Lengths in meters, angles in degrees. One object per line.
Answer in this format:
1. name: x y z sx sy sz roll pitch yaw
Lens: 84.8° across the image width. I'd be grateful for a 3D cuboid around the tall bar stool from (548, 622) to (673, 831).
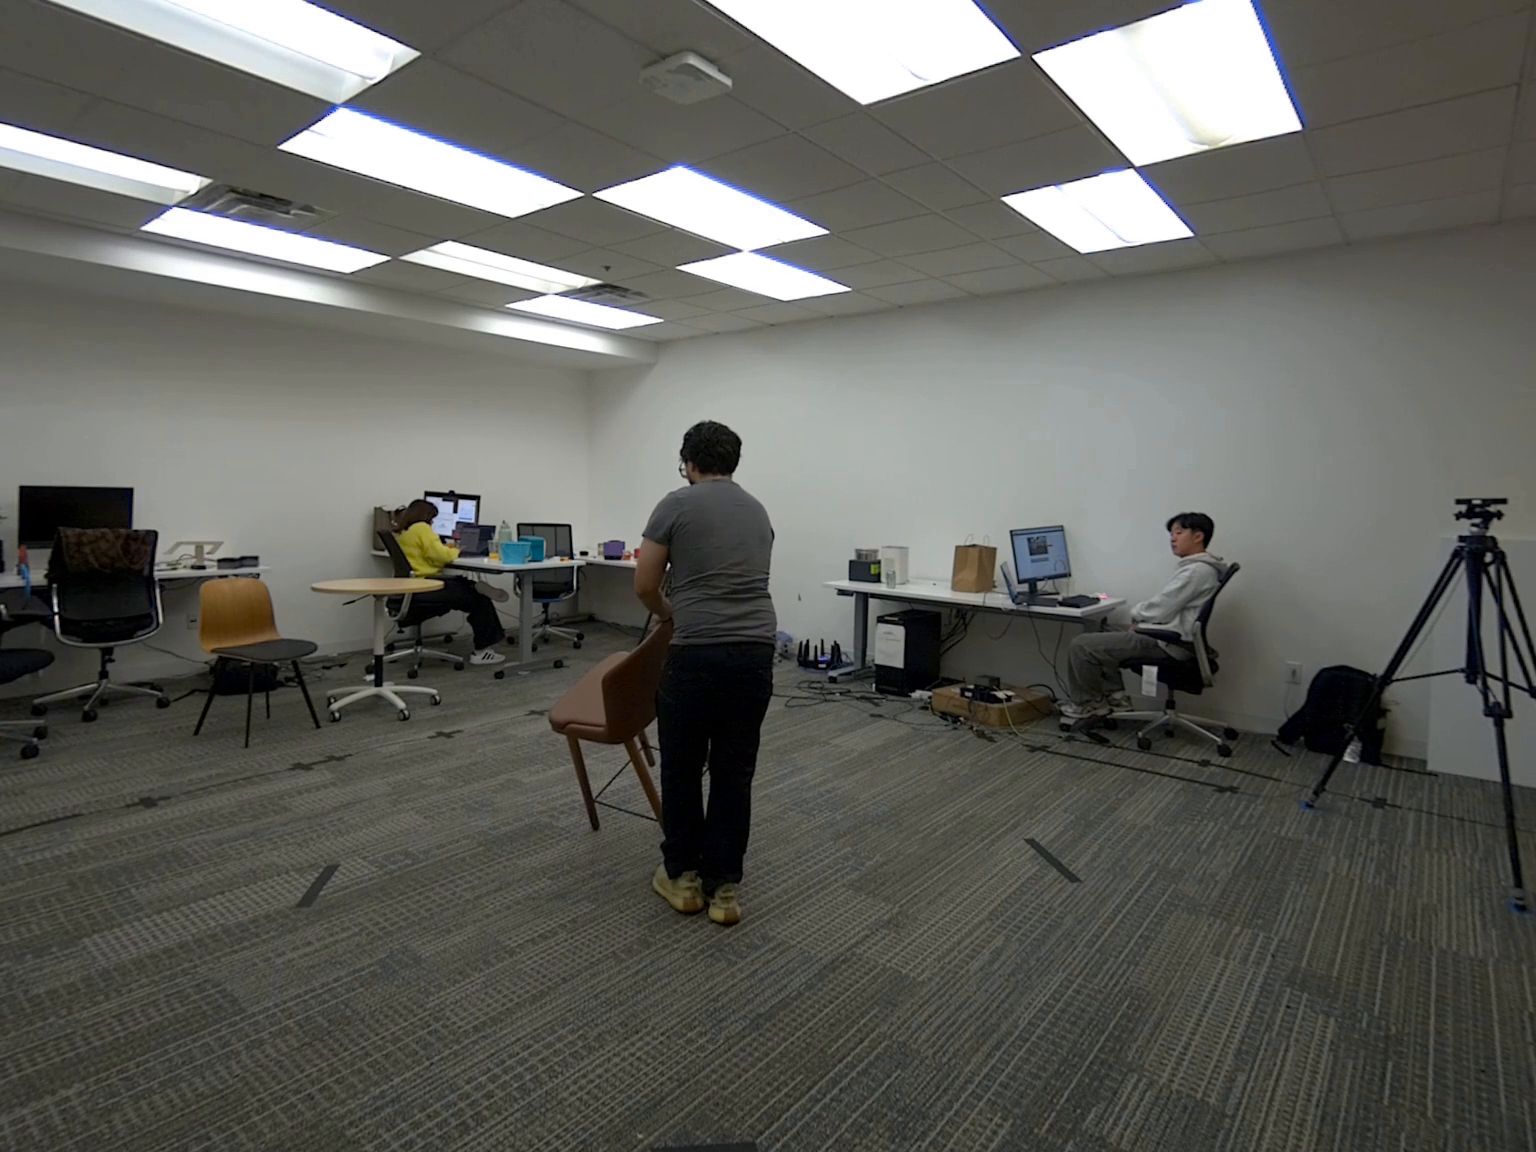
1. tall bar stool: -0.537 0.577 3.275 0.483 0.865 0.454 8 34 35
